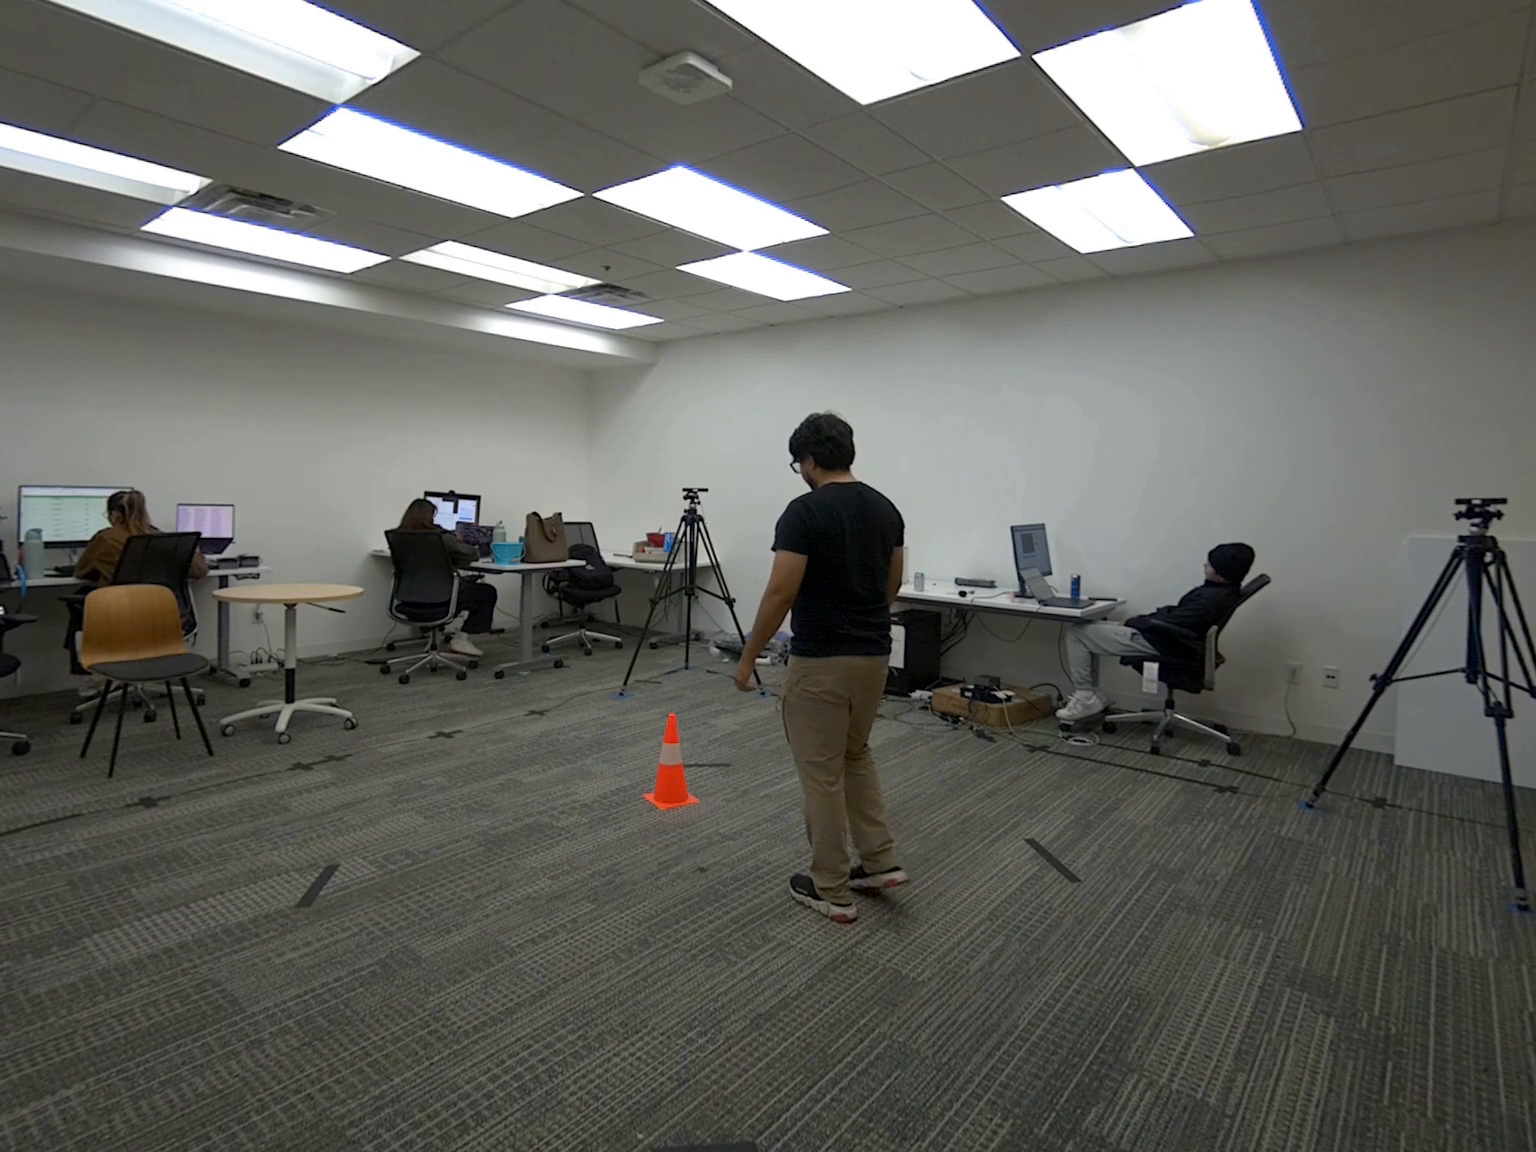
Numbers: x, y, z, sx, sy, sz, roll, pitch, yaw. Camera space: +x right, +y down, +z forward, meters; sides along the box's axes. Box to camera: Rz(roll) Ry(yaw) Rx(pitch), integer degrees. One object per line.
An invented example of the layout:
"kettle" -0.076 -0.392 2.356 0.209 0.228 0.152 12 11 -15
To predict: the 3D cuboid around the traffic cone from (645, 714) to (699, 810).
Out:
"traffic cone" -0.448 0.812 3.816 0.198 0.382 0.212 -3 6 -35
